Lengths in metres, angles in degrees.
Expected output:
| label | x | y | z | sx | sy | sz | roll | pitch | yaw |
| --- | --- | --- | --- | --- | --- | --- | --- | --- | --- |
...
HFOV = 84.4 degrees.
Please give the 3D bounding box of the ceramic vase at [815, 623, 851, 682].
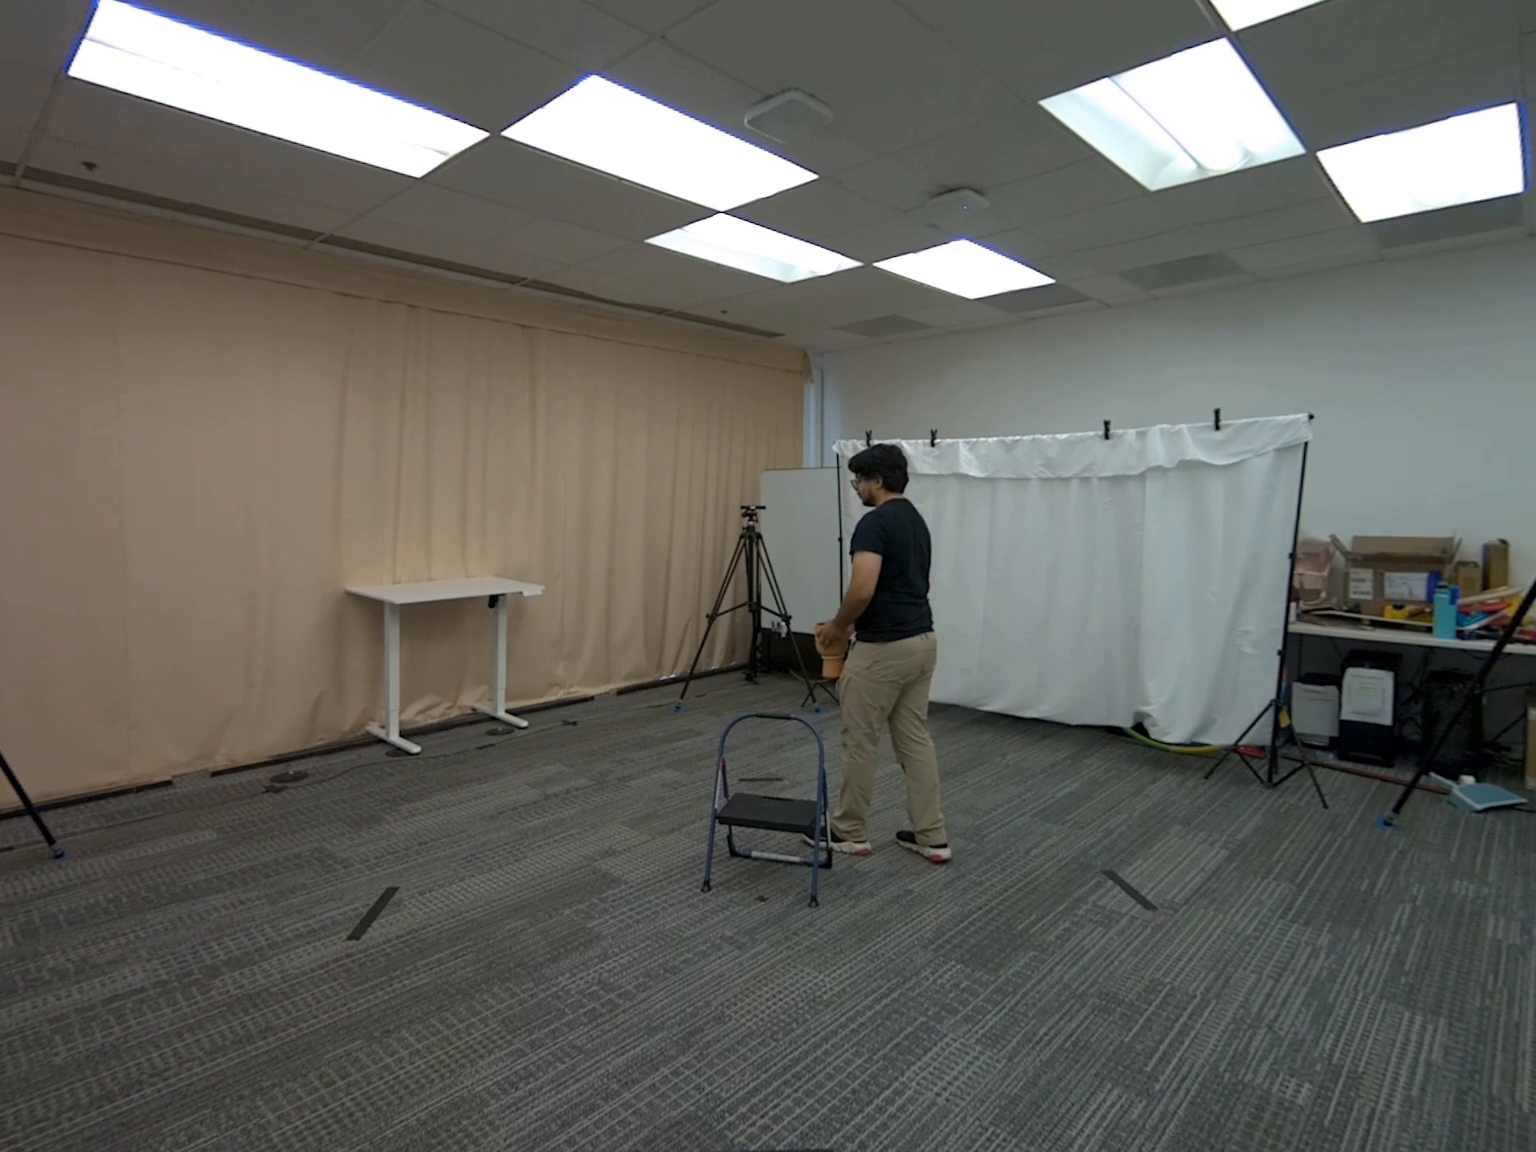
| label | x | y | z | sx | sy | sz | roll | pitch | yaw |
| --- | --- | --- | --- | --- | --- | --- | --- | --- | --- |
| ceramic vase | 0.280 | 0.314 | 3.547 | 0.155 | 0.219 | 0.138 | -7 | 5 | -26 |
